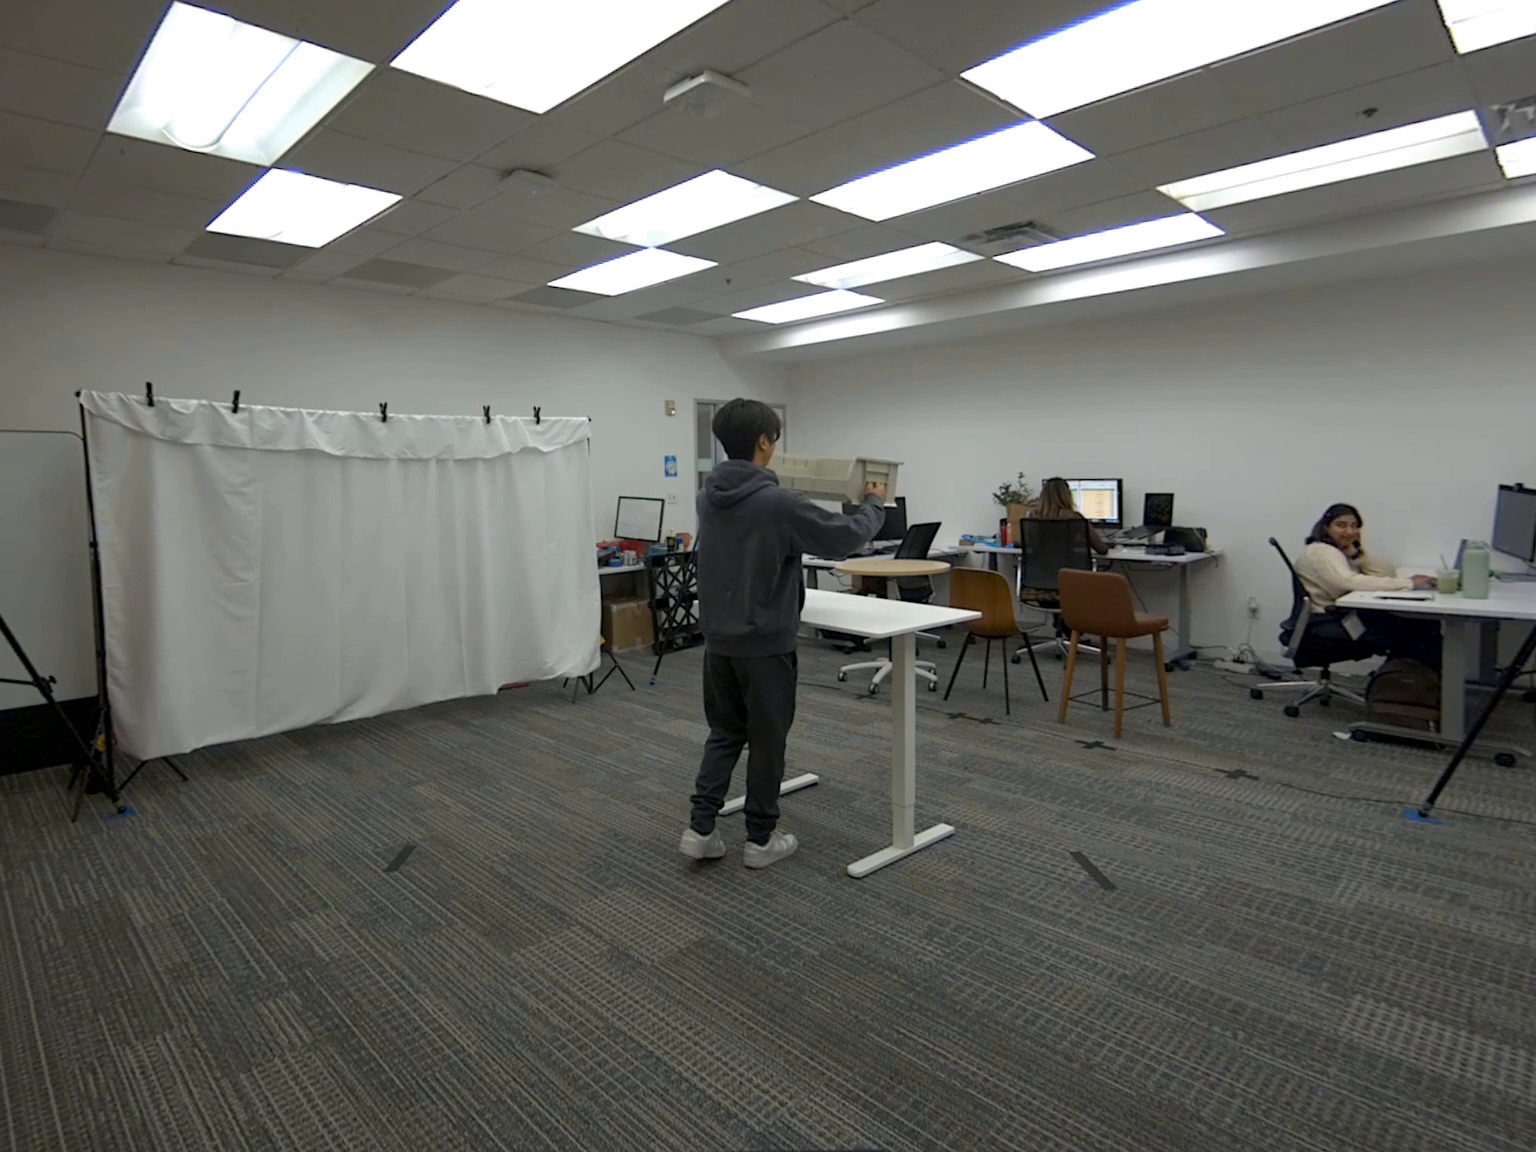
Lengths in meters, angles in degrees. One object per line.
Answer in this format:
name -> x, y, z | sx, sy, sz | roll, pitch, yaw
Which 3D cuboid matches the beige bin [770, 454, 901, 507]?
beige bin -> 0.248, -0.379, 3.370 | 0.436, 0.188, 0.367 | 8, 6, 39
